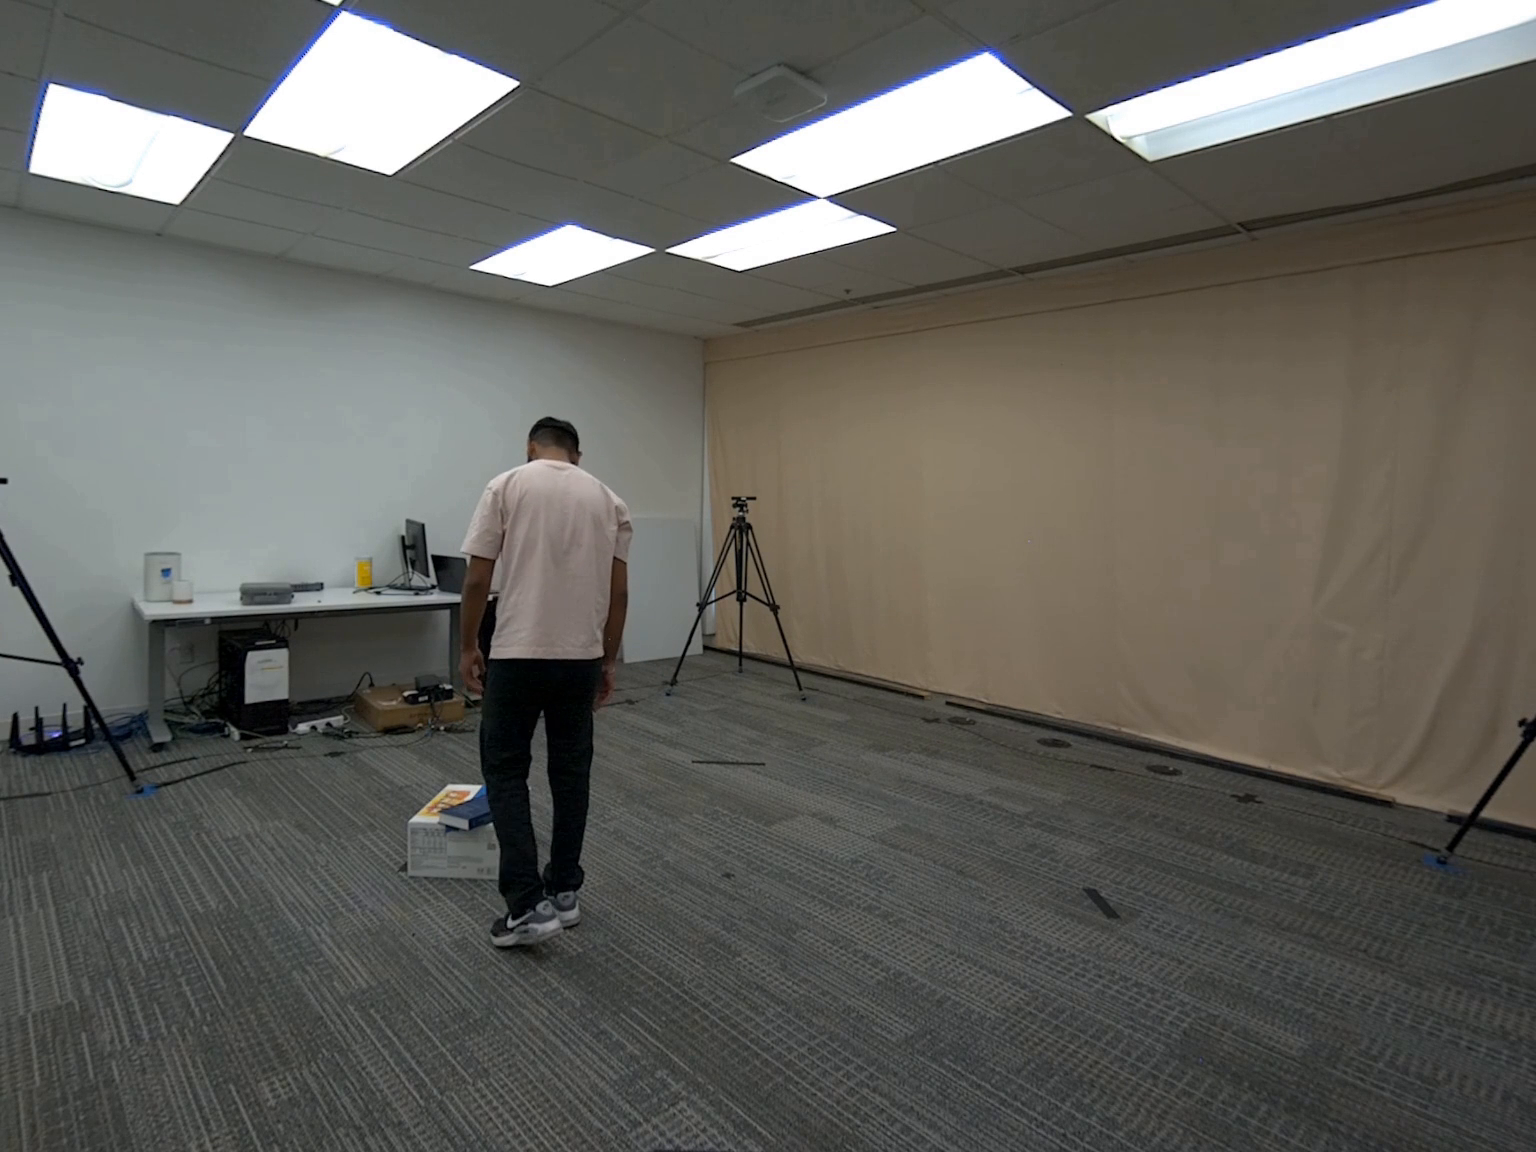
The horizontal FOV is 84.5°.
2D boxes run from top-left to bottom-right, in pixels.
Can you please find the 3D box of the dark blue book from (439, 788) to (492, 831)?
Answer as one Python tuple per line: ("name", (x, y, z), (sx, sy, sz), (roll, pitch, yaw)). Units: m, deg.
("dark blue book", (-1.070, 0.866, 3.085), (0.167, 0.045, 0.240), (2, 3, 28))
